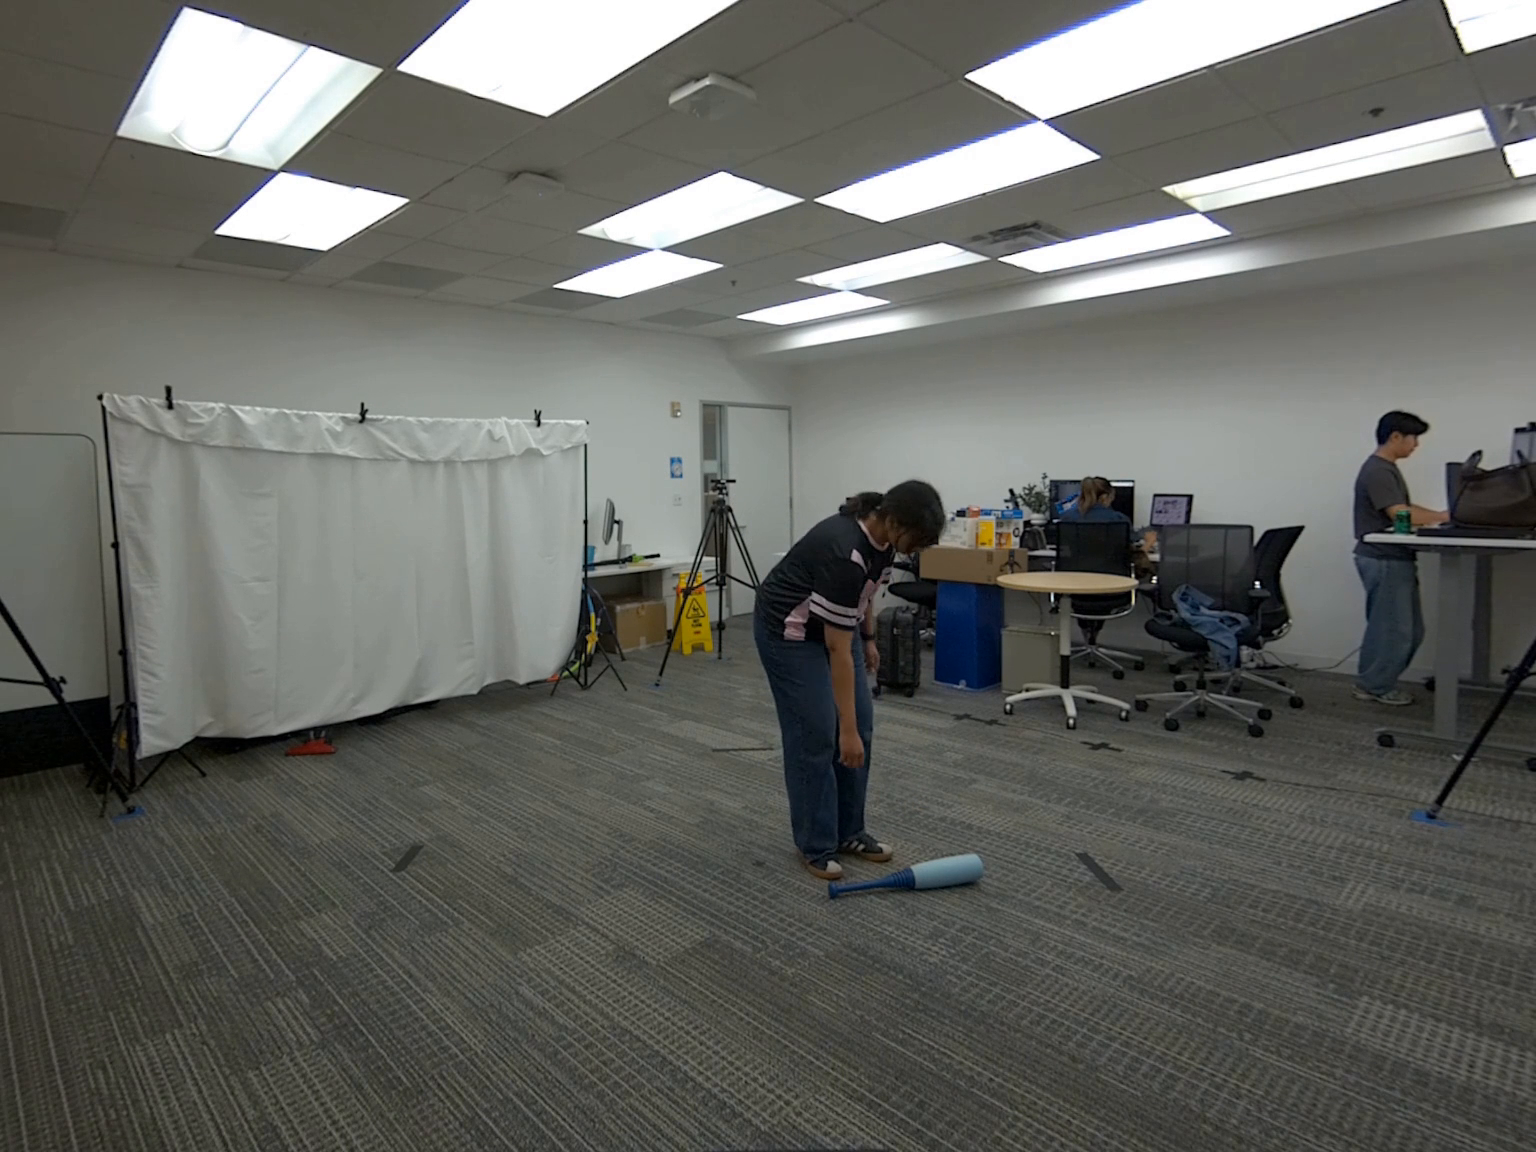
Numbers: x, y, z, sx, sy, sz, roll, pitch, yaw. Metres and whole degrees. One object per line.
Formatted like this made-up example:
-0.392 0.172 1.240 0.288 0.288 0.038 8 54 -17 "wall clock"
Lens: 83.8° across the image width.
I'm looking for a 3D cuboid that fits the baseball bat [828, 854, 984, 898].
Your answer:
0.475 1.027 2.886 0.538 0.088 0.090 -5 5 -11 "baseball bat"
